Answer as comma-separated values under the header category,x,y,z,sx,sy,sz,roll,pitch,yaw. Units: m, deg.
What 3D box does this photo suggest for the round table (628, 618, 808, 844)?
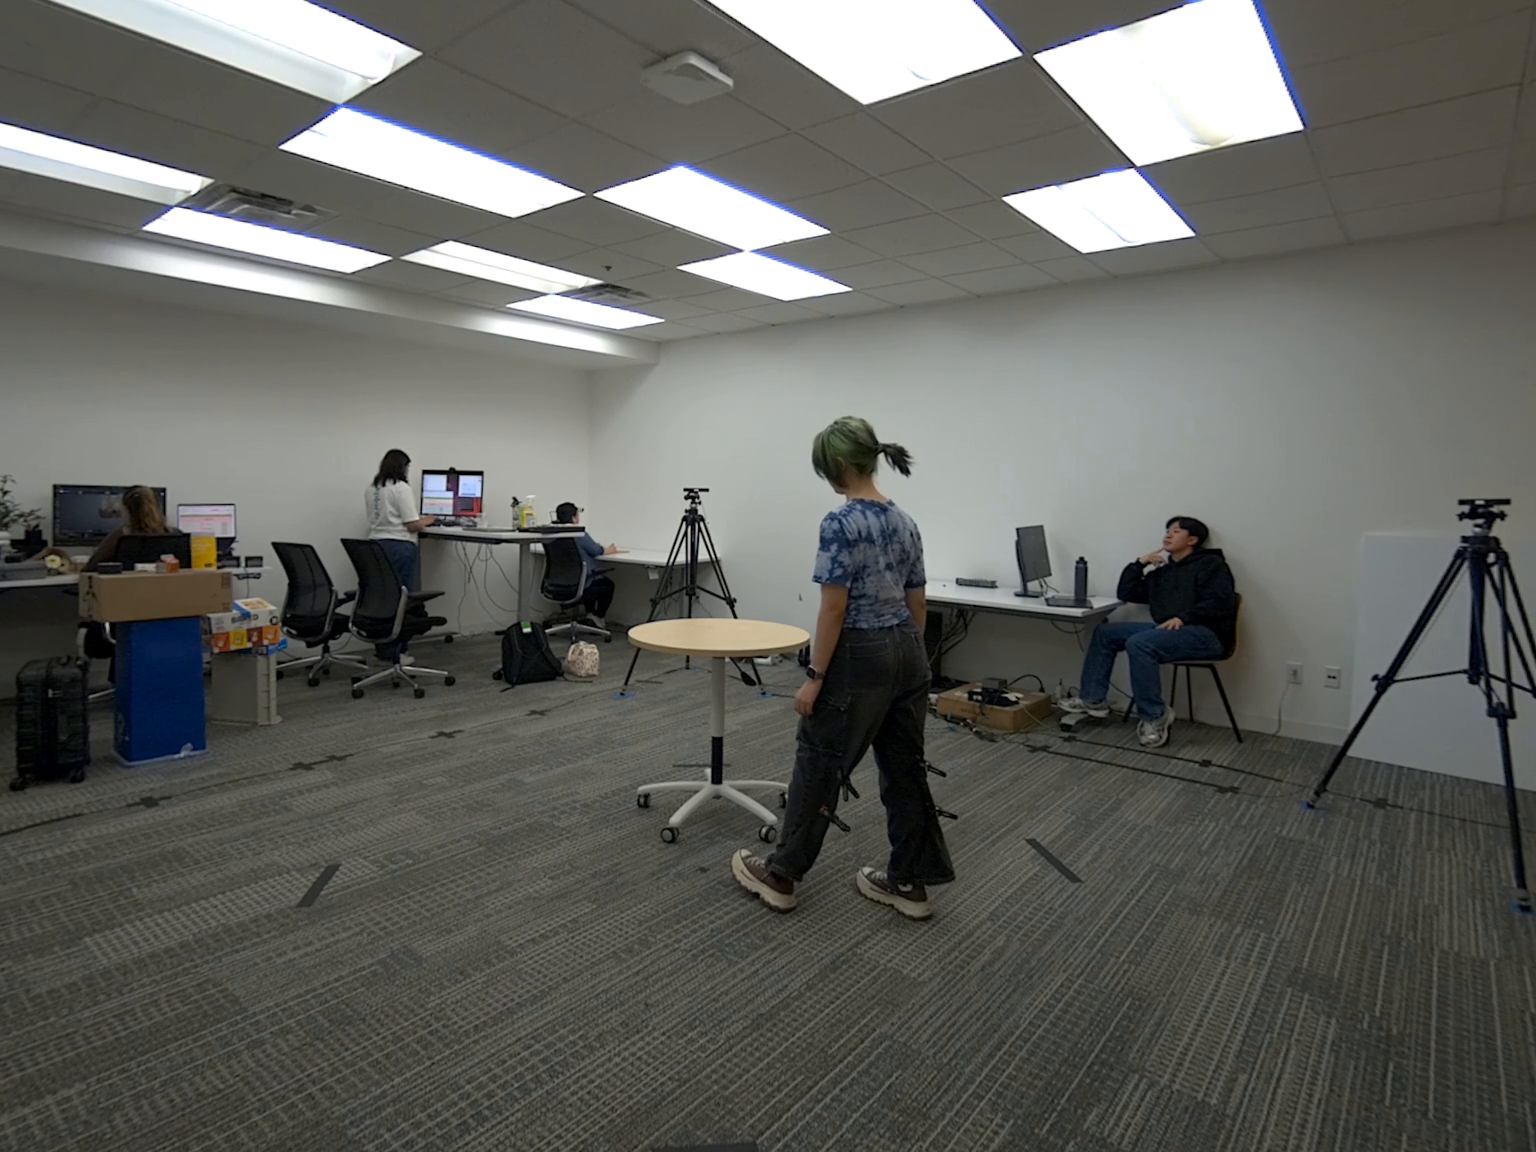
category,x,y,z,sx,sy,sz,roll,pitch,yaw
round table,-0.231,0.632,3.607,0.763,0.791,0.768,1,4,-2
